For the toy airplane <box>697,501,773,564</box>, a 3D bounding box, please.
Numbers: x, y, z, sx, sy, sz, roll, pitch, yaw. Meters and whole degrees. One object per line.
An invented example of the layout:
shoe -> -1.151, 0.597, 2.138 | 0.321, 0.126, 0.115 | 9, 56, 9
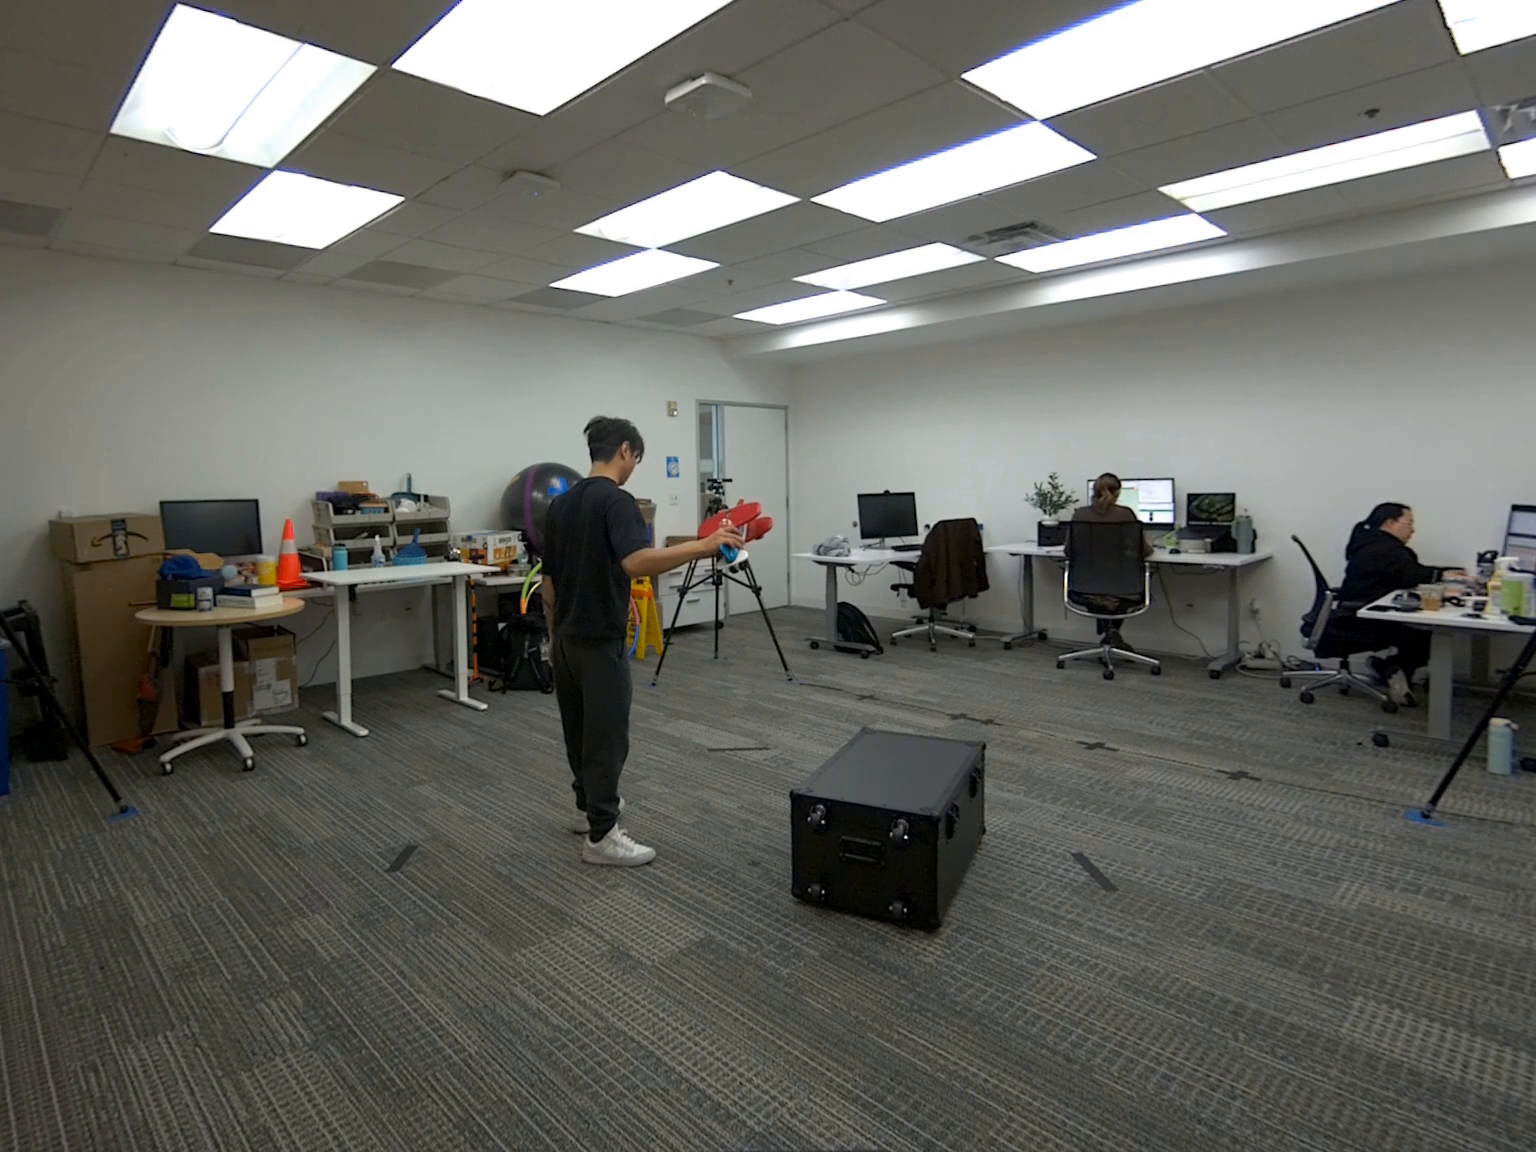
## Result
toy airplane -> -0.100, -0.136, 2.910 | 0.251, 0.152, 0.266 | -34, 25, -1
